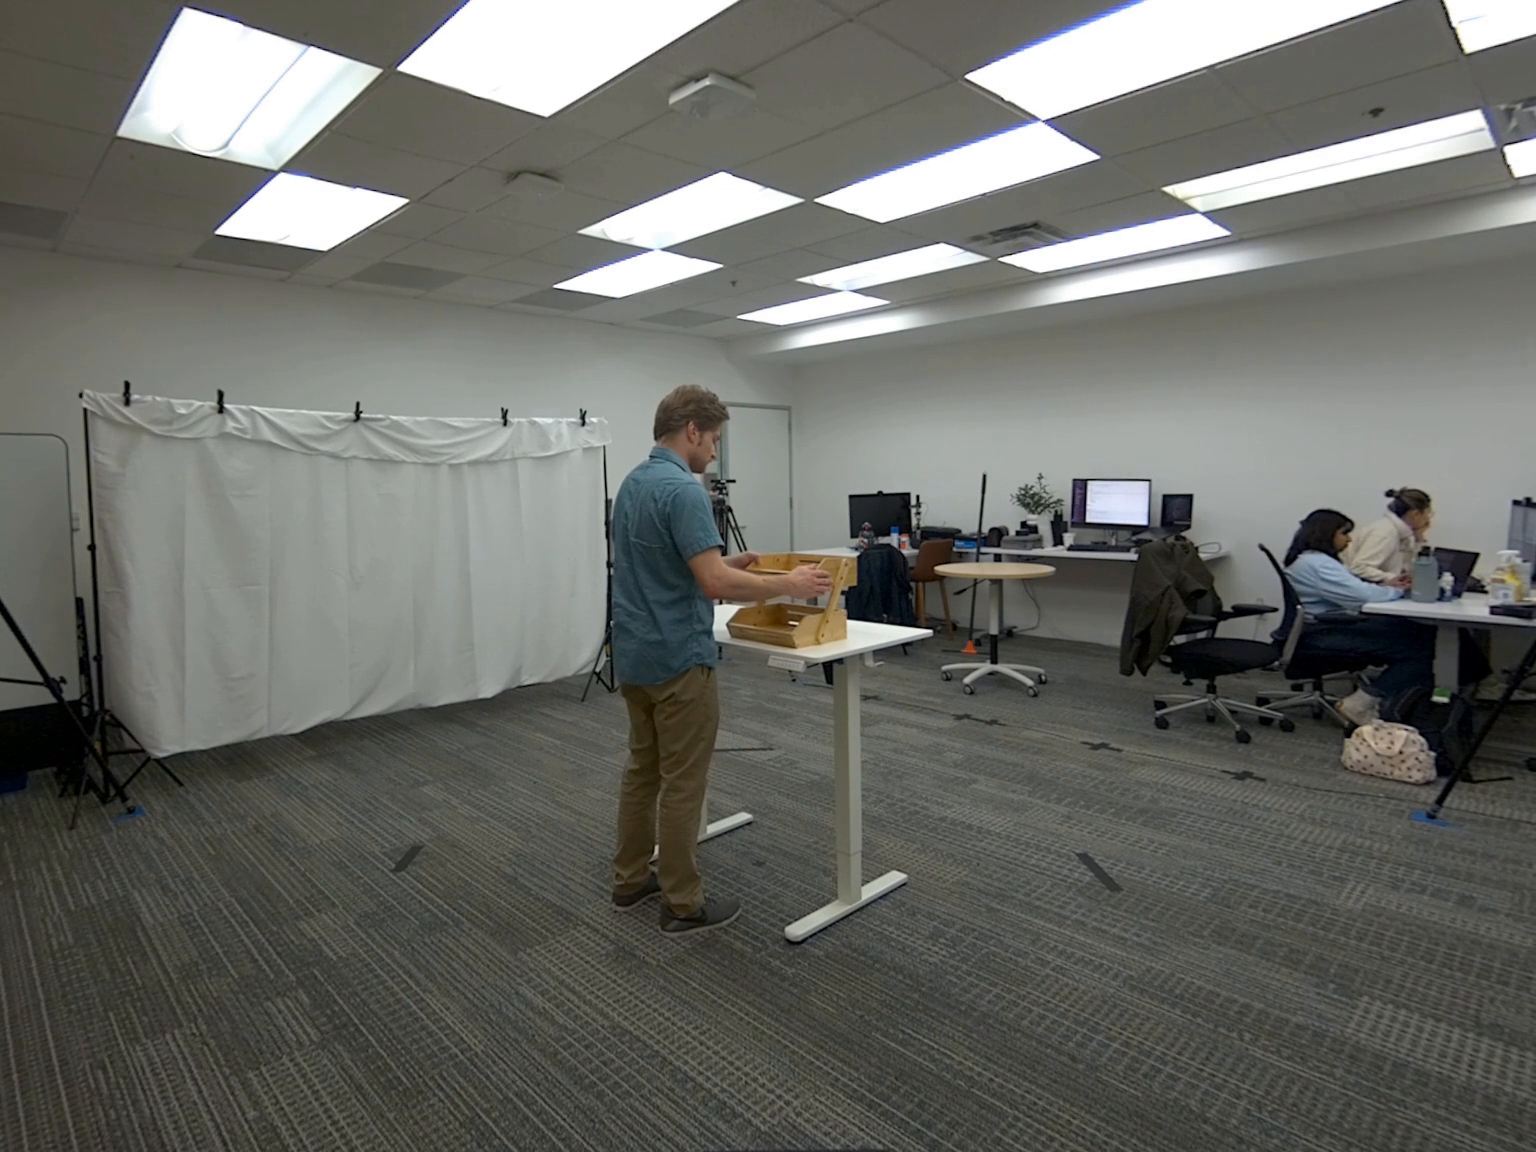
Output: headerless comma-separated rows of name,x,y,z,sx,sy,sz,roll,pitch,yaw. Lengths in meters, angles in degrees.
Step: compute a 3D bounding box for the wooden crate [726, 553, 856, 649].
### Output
wooden crate,0.076,0.066,2.764,0.294,0.272,0.334,-4,6,-44
